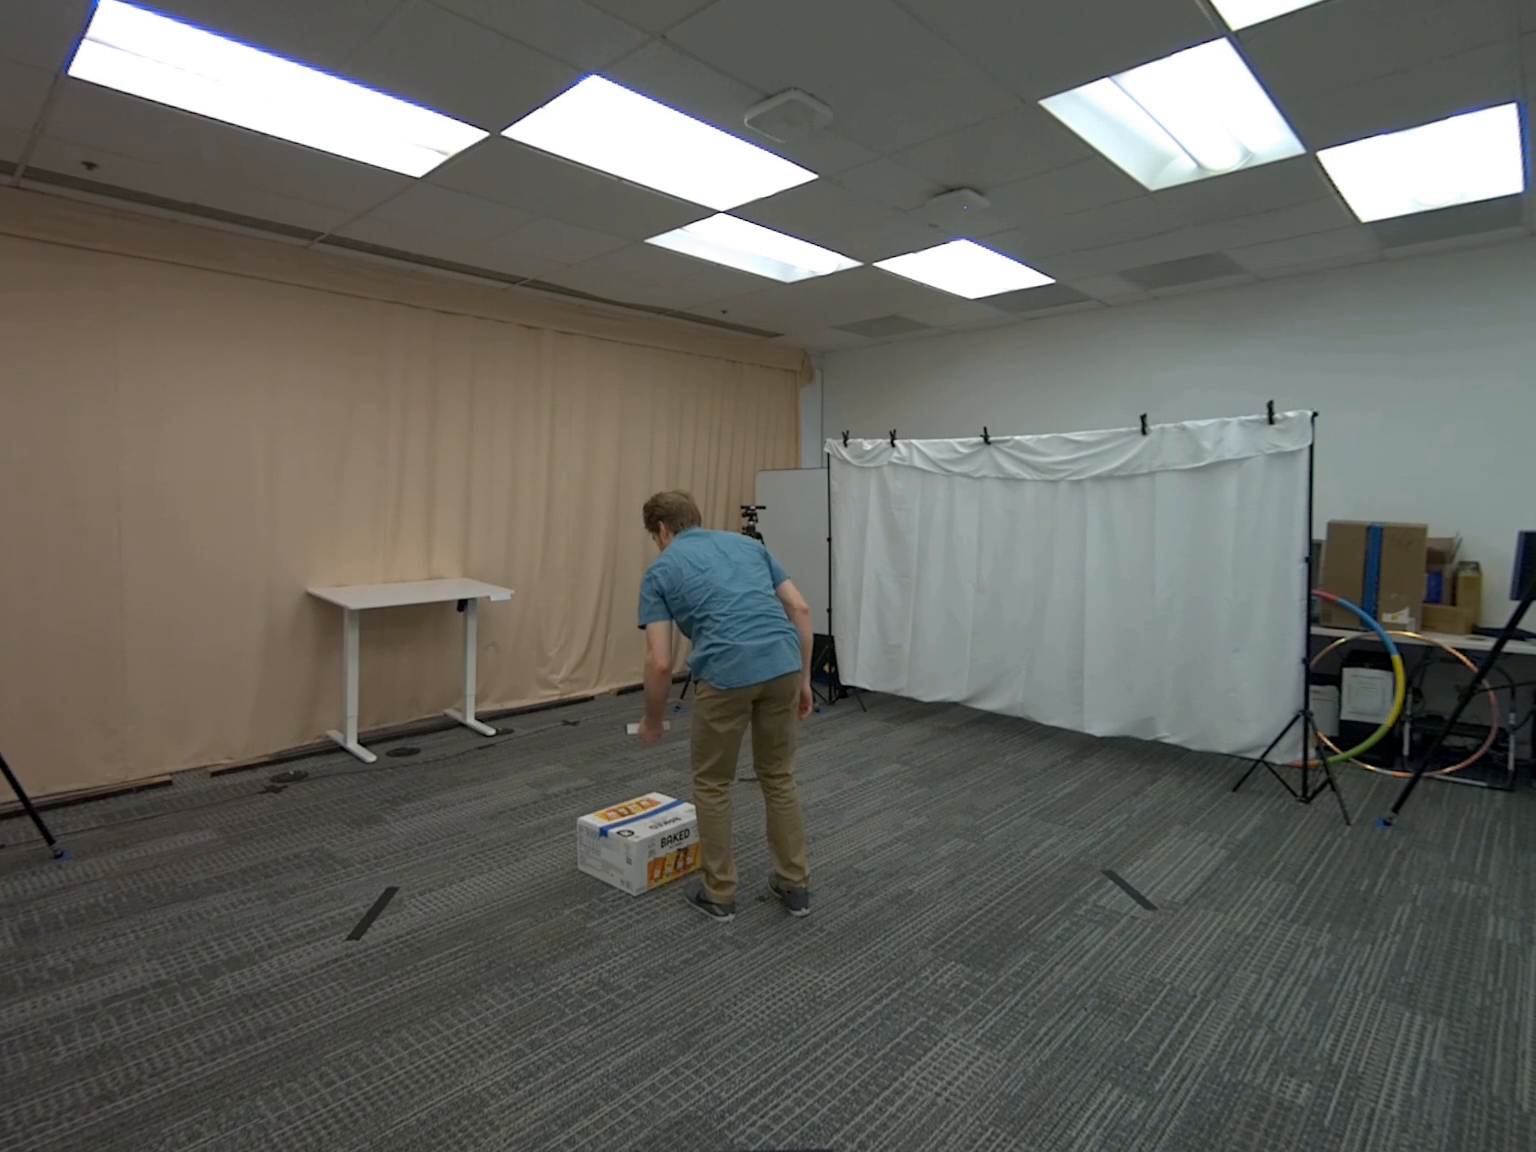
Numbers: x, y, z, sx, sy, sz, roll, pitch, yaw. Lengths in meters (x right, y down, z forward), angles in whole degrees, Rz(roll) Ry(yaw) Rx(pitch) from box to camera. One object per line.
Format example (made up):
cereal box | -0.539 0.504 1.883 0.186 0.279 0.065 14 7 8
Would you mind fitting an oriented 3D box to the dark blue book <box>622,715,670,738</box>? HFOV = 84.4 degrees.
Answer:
dark blue book | -0.455 0.557 3.162 0.163 0.045 0.245 -5 -5 -5
